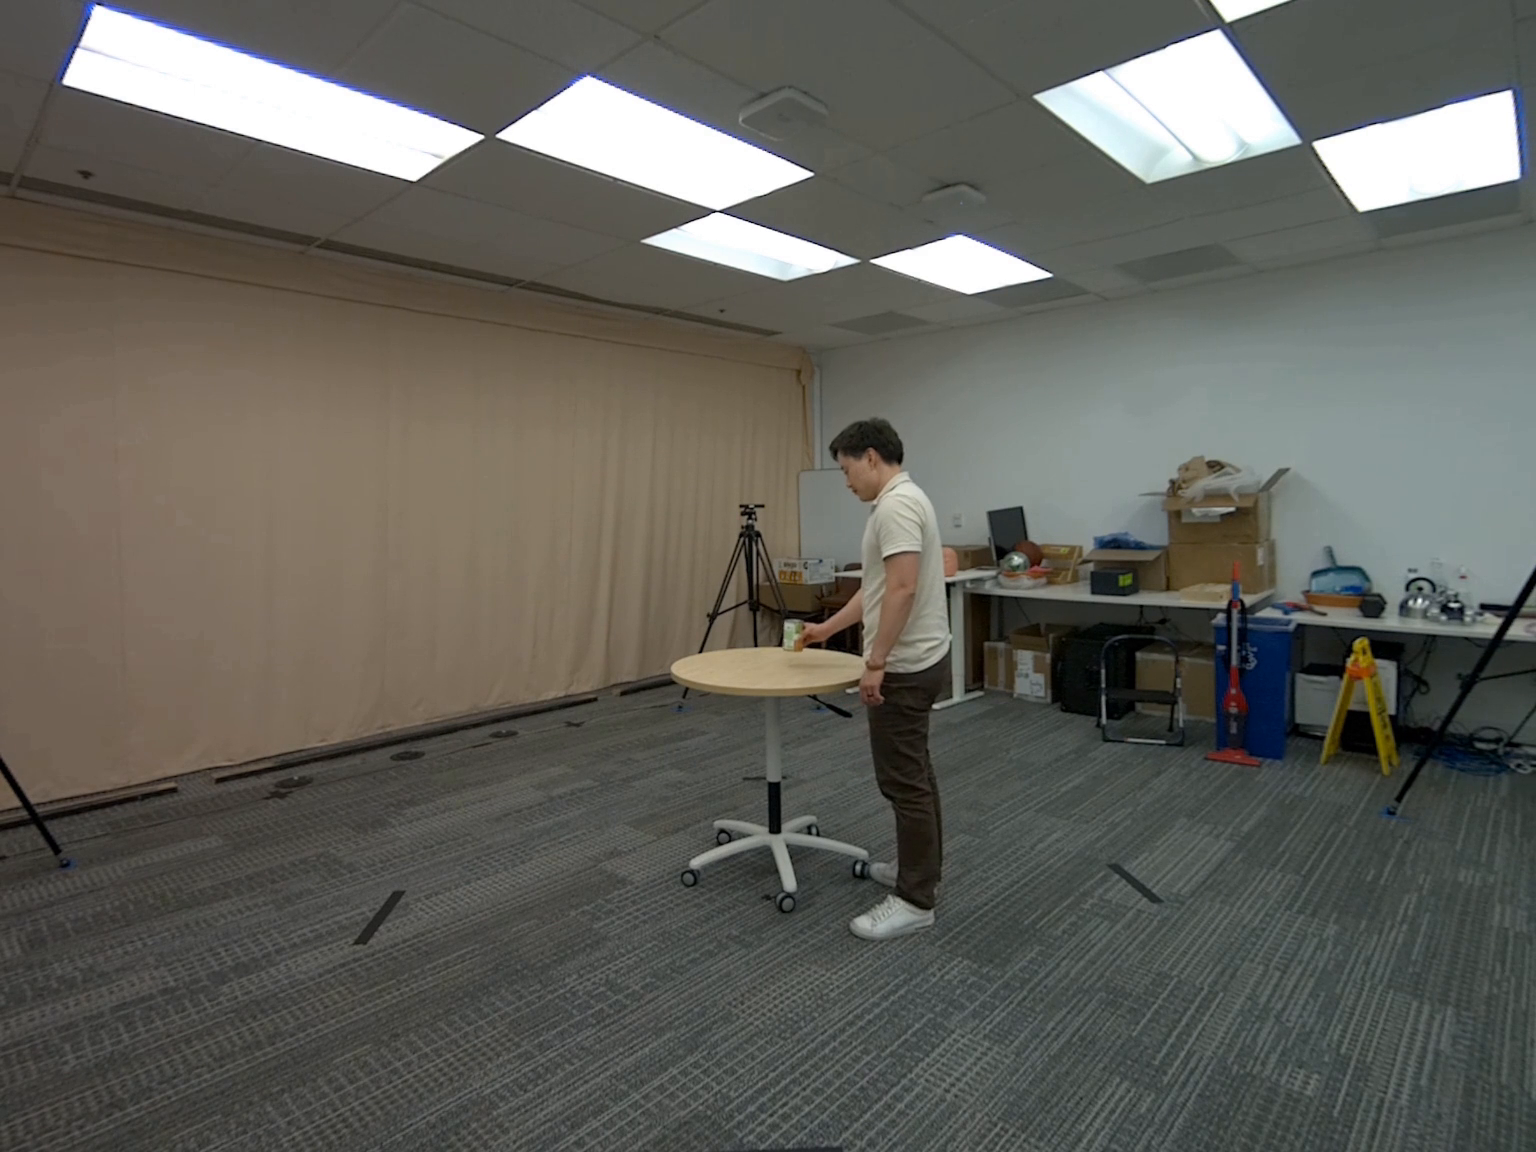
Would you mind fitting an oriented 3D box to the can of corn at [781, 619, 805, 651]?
[{"bbox_3d":[0.109,0.228,3.154,0.074,0.111,0.074,1,4,-2],"label":"can of corn"}]
